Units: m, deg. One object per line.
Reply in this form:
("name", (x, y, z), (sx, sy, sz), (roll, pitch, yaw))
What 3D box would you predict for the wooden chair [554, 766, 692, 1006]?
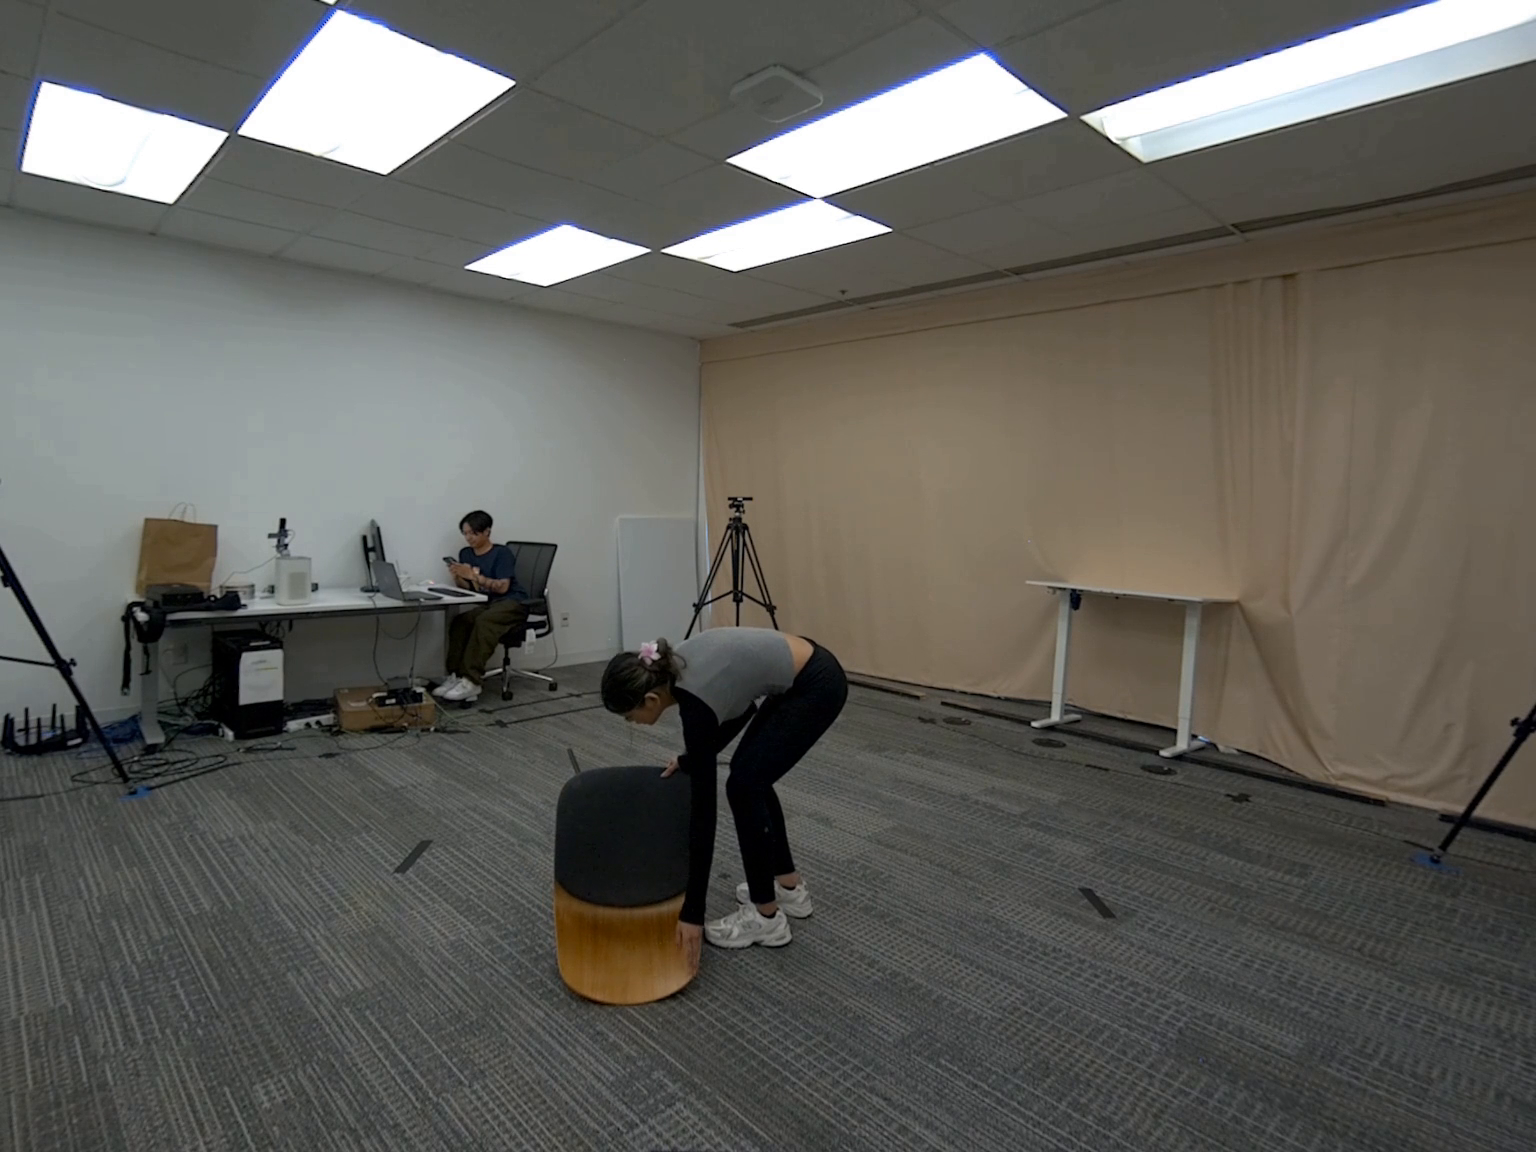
("wooden chair", (-0.459, 0.878, 2.718), (0.475, 0.521, 0.887), (1, 6, -9))
